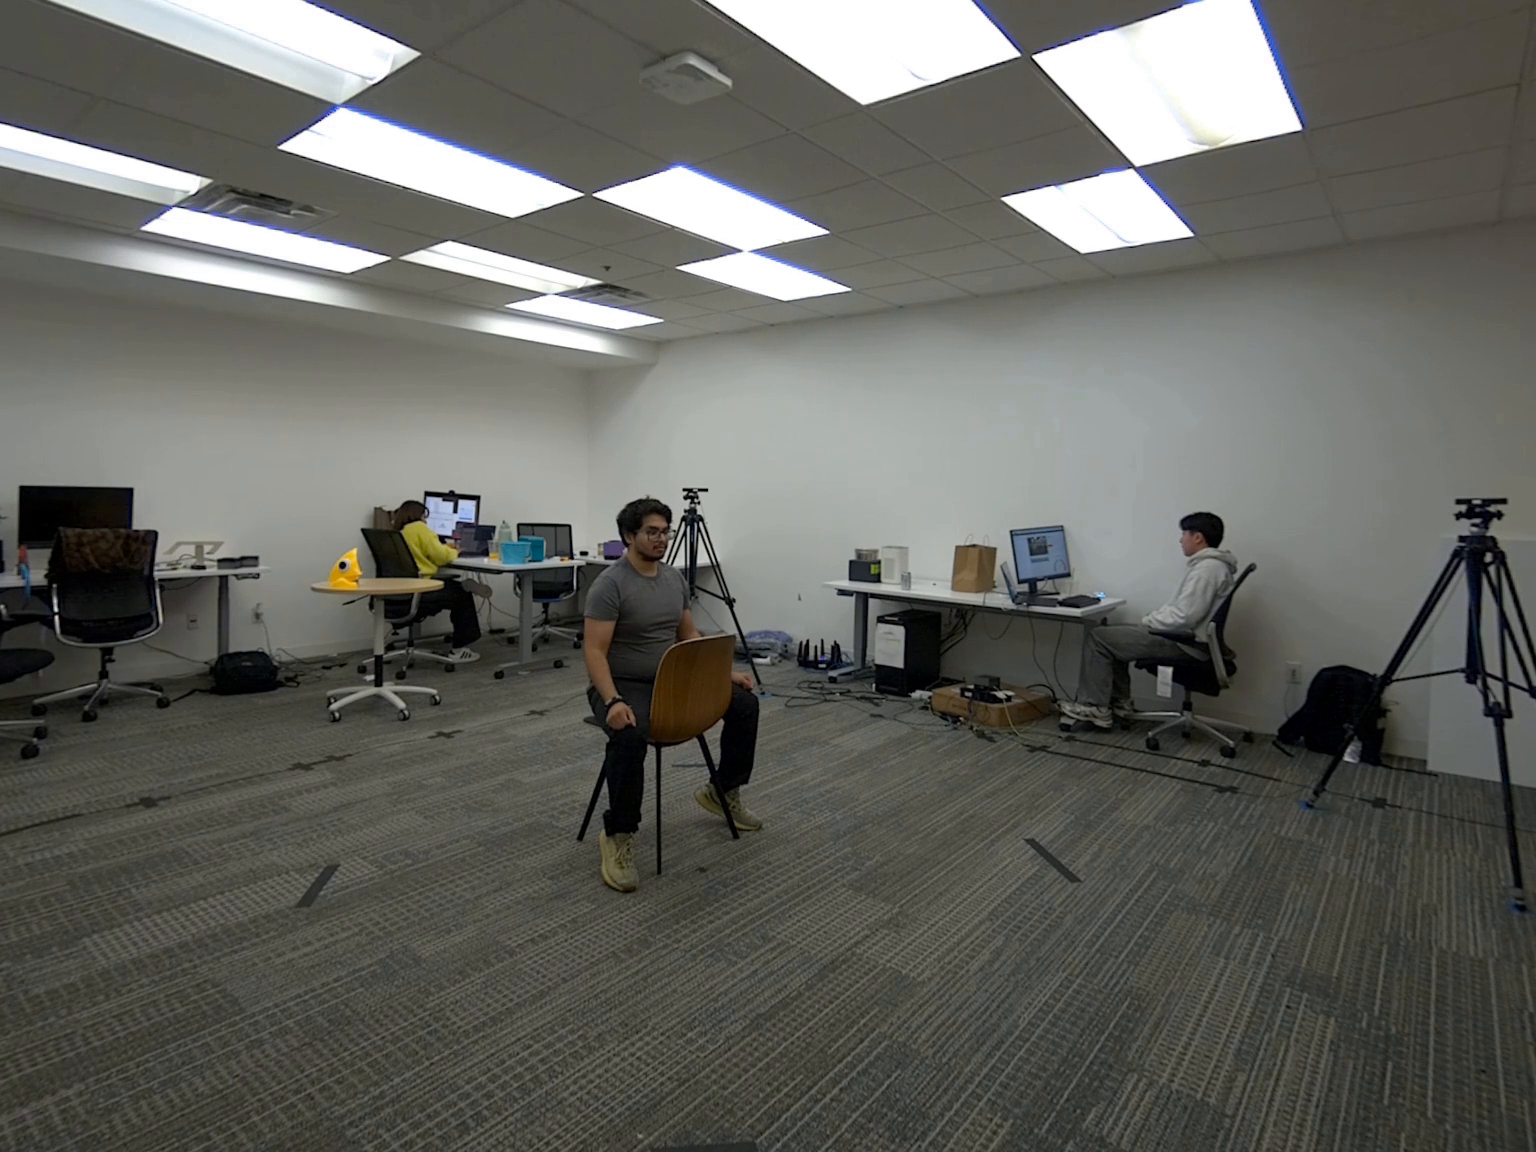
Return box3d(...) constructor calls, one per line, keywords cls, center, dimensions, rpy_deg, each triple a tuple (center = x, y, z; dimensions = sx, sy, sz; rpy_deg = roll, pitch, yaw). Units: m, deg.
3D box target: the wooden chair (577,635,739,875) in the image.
box3d(cls="wooden chair", center=(-0.444, 0.621, 3.348), dimensions=(0.542, 0.873, 0.464), rpy_deg=(9, 8, 39))
